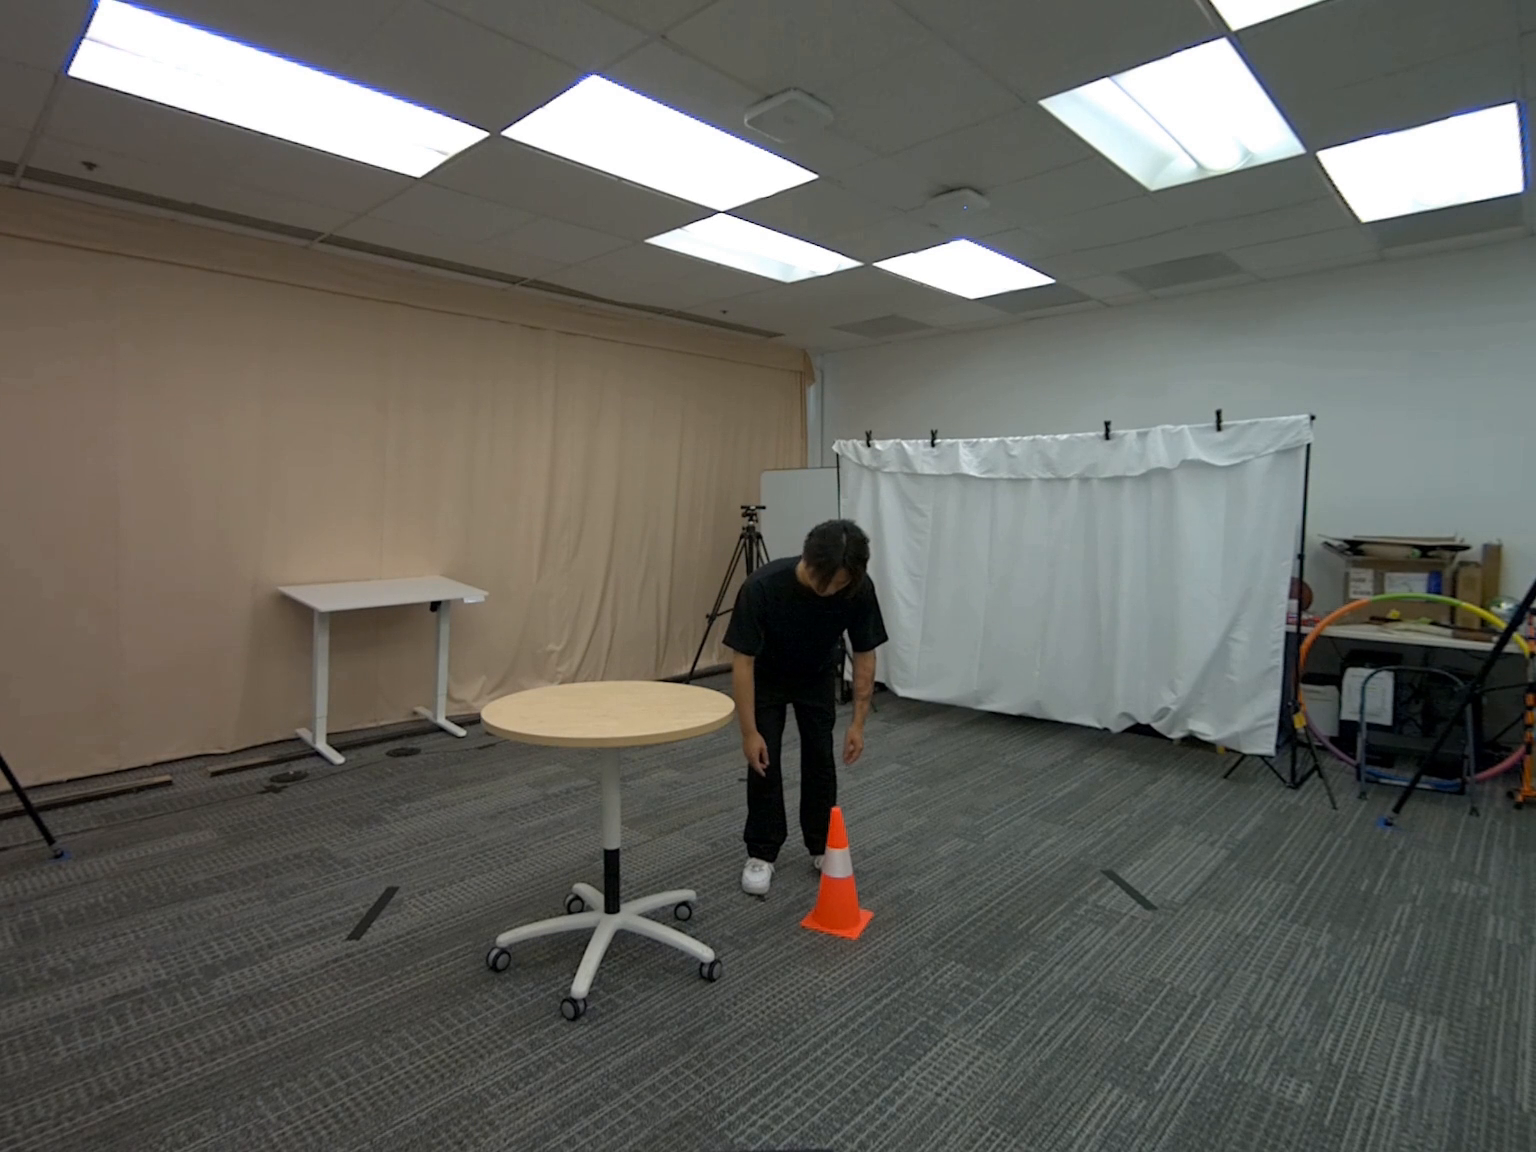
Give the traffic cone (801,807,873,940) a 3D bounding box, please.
[{"bbox_3d":[0.228,0.968,2.827,0.208,0.383,0.200,0,4,25],"label":"traffic cone"}]
